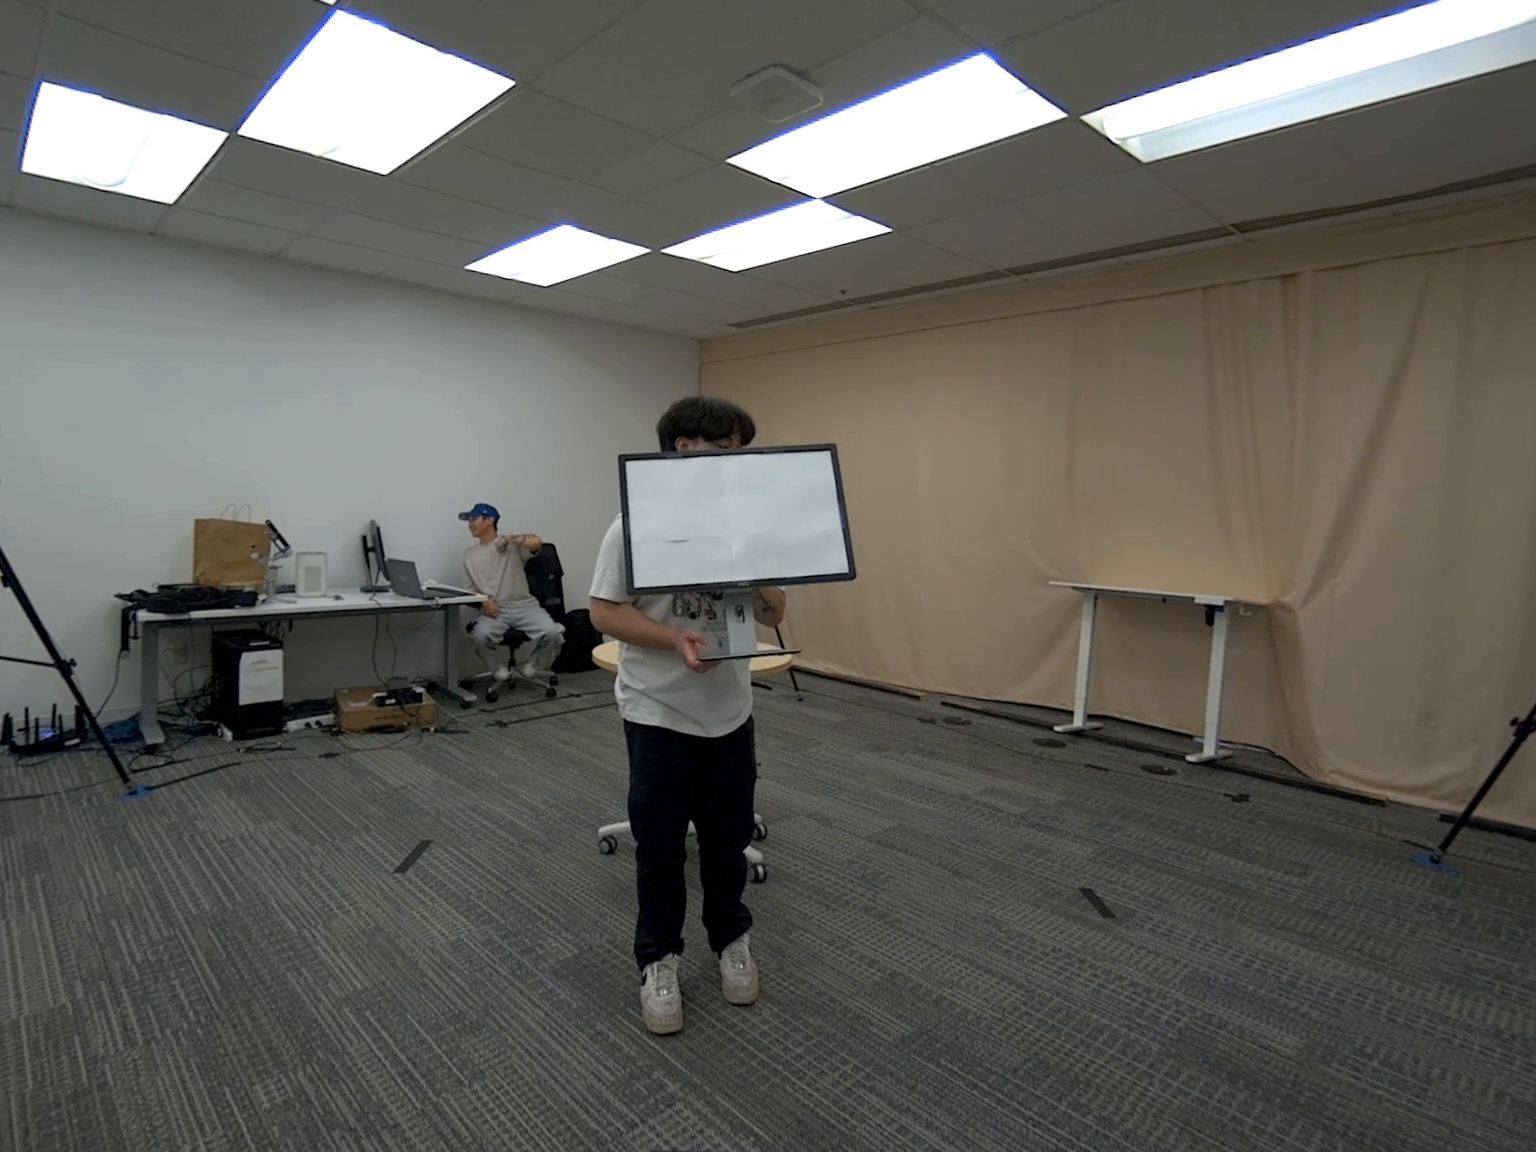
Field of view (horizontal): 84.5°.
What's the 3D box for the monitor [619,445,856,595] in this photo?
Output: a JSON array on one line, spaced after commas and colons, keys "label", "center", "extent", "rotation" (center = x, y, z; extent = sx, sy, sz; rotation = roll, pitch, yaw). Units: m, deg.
[{"label": "monitor", "center": [-0.092, -0.047, 2.126], "extent": [0.562, 0.560, 0.209], "rotation": [-4, -13, -7]}]
